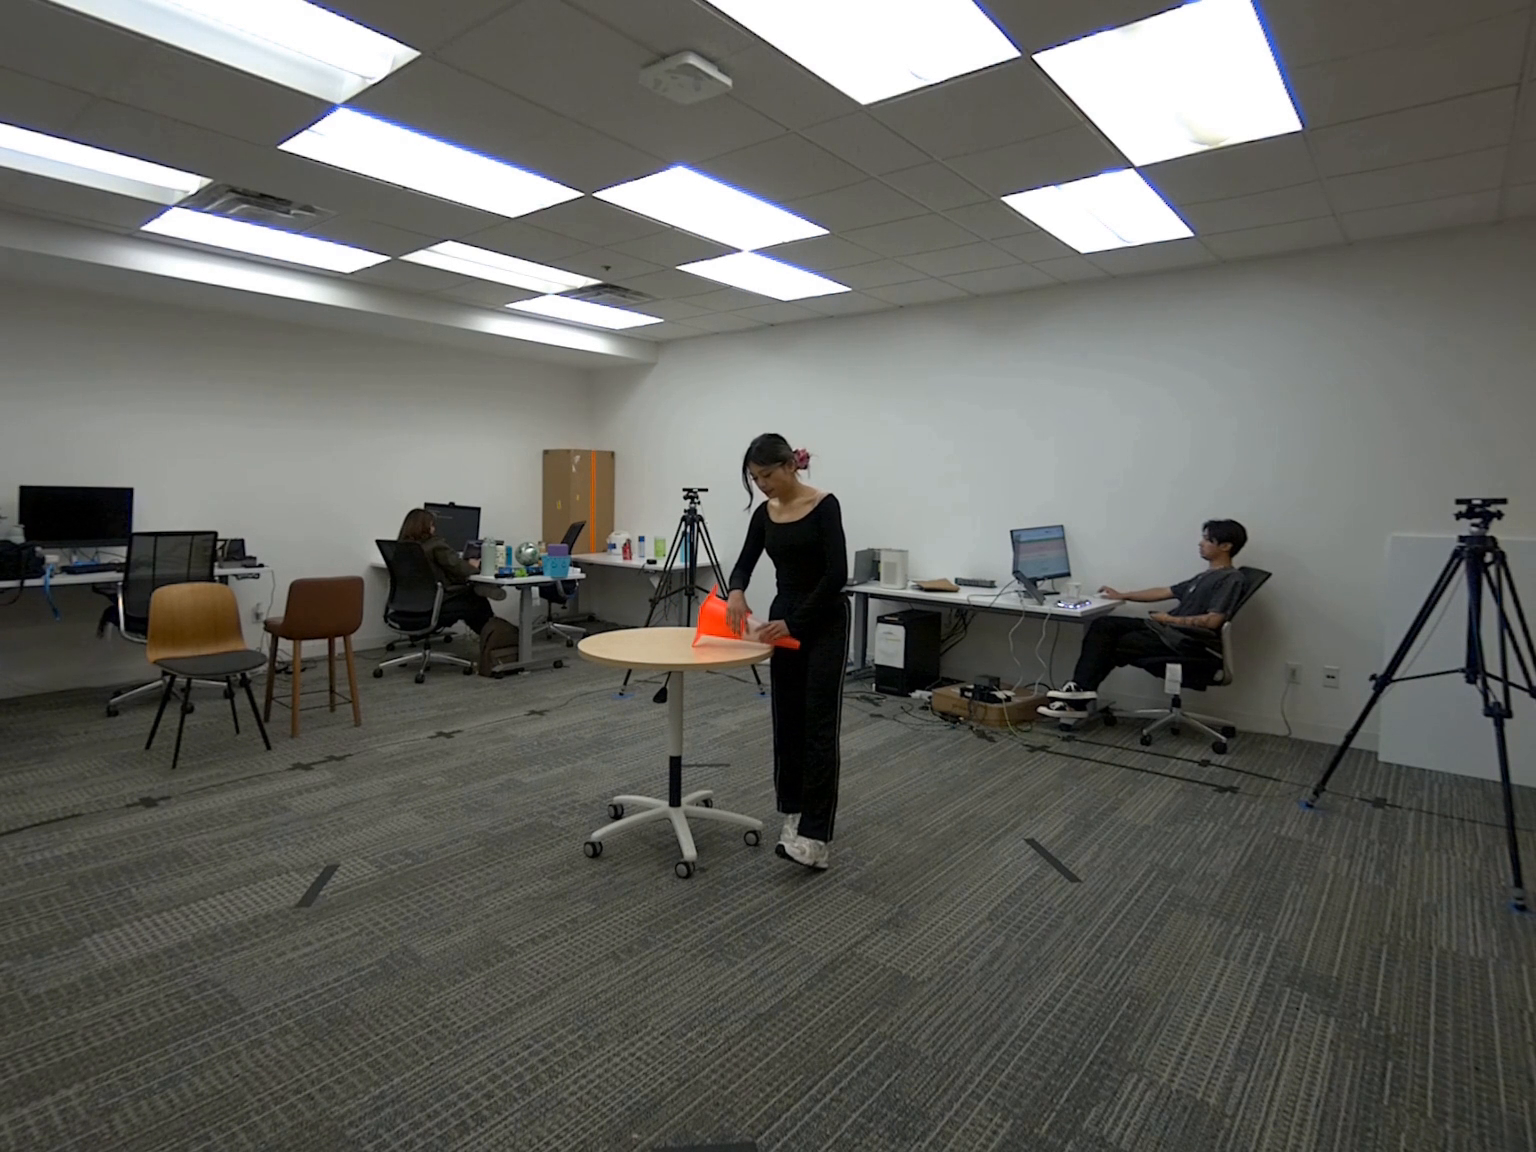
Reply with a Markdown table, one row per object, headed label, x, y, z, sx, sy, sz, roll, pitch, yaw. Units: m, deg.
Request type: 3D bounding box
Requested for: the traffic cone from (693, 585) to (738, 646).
| label | x | y | z | sx | sy | sz | roll | pitch | yaw |
| --- | --- | --- | --- | --- | --- | --- | --- | --- | --- |
| traffic cone | -0.074 | 0.203 | 3.265 | 0.389 | 0.200 | 0.205 | 17 | 26 | 11 |
